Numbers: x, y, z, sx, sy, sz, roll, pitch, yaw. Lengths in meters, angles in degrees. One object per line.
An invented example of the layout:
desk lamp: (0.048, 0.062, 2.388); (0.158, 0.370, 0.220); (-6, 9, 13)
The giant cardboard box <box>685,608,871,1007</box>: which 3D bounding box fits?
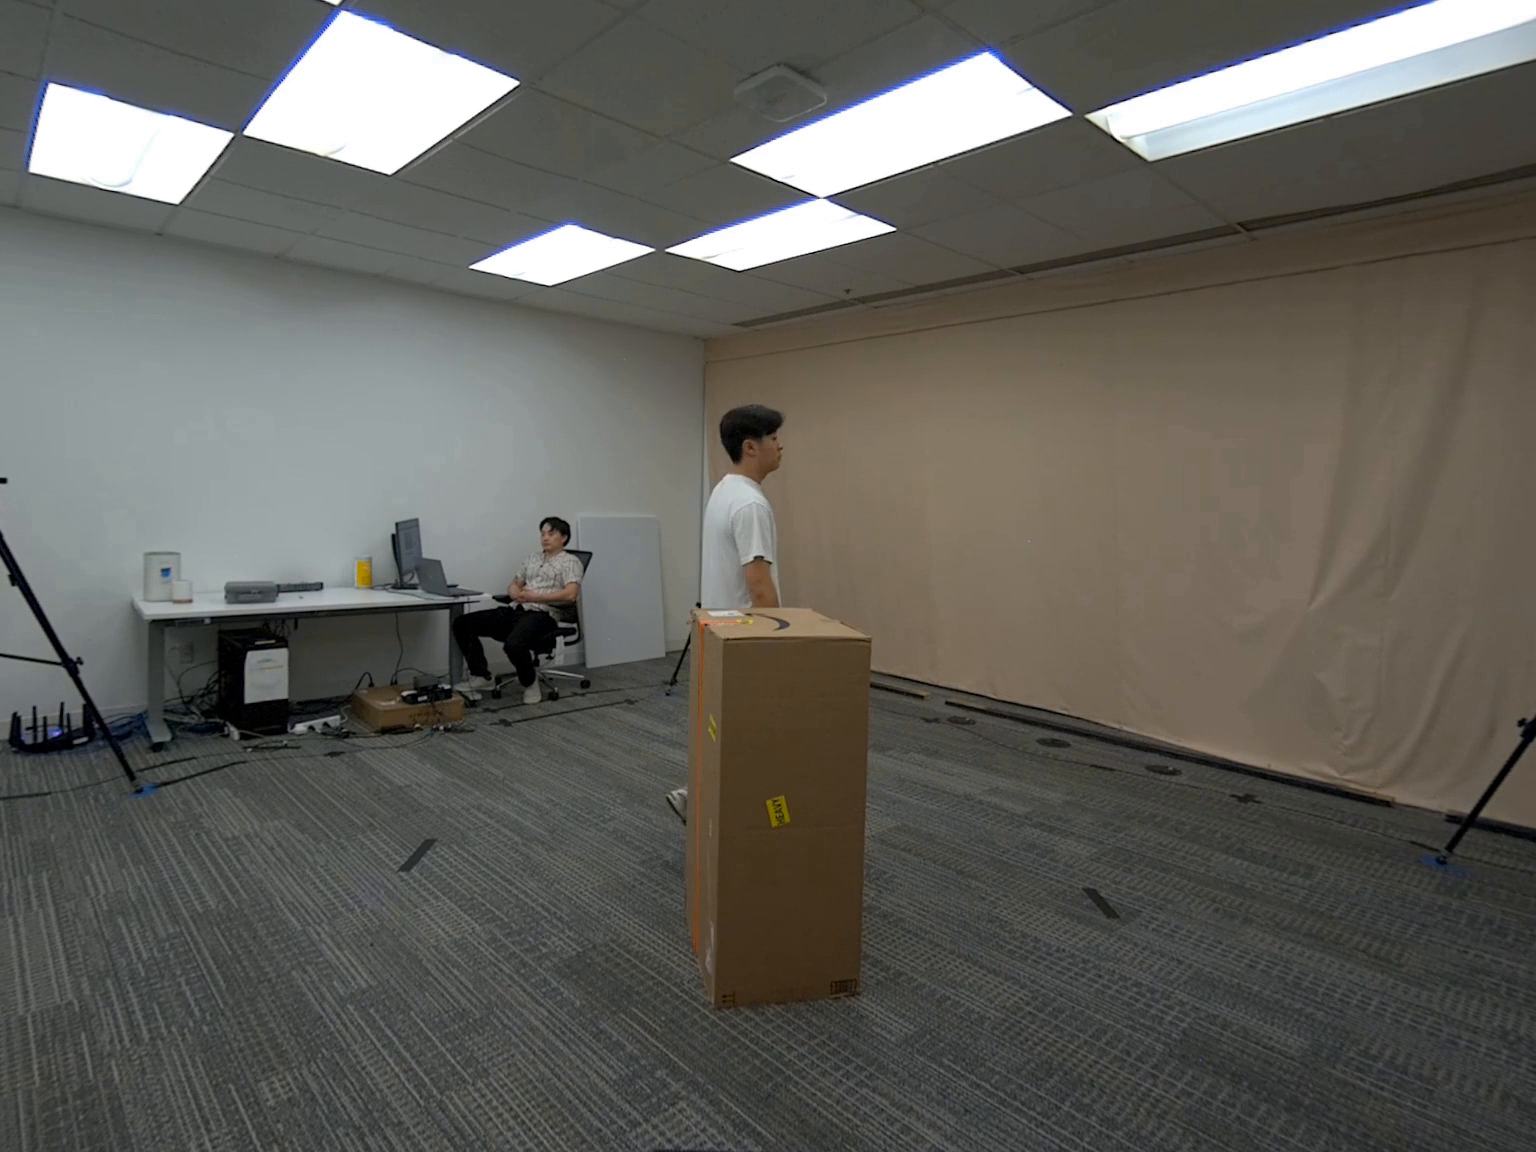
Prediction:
giant cardboard box: (-0.003, 0.648, 2.579); (0.422, 1.023, 0.585); (0, 4, -14)
